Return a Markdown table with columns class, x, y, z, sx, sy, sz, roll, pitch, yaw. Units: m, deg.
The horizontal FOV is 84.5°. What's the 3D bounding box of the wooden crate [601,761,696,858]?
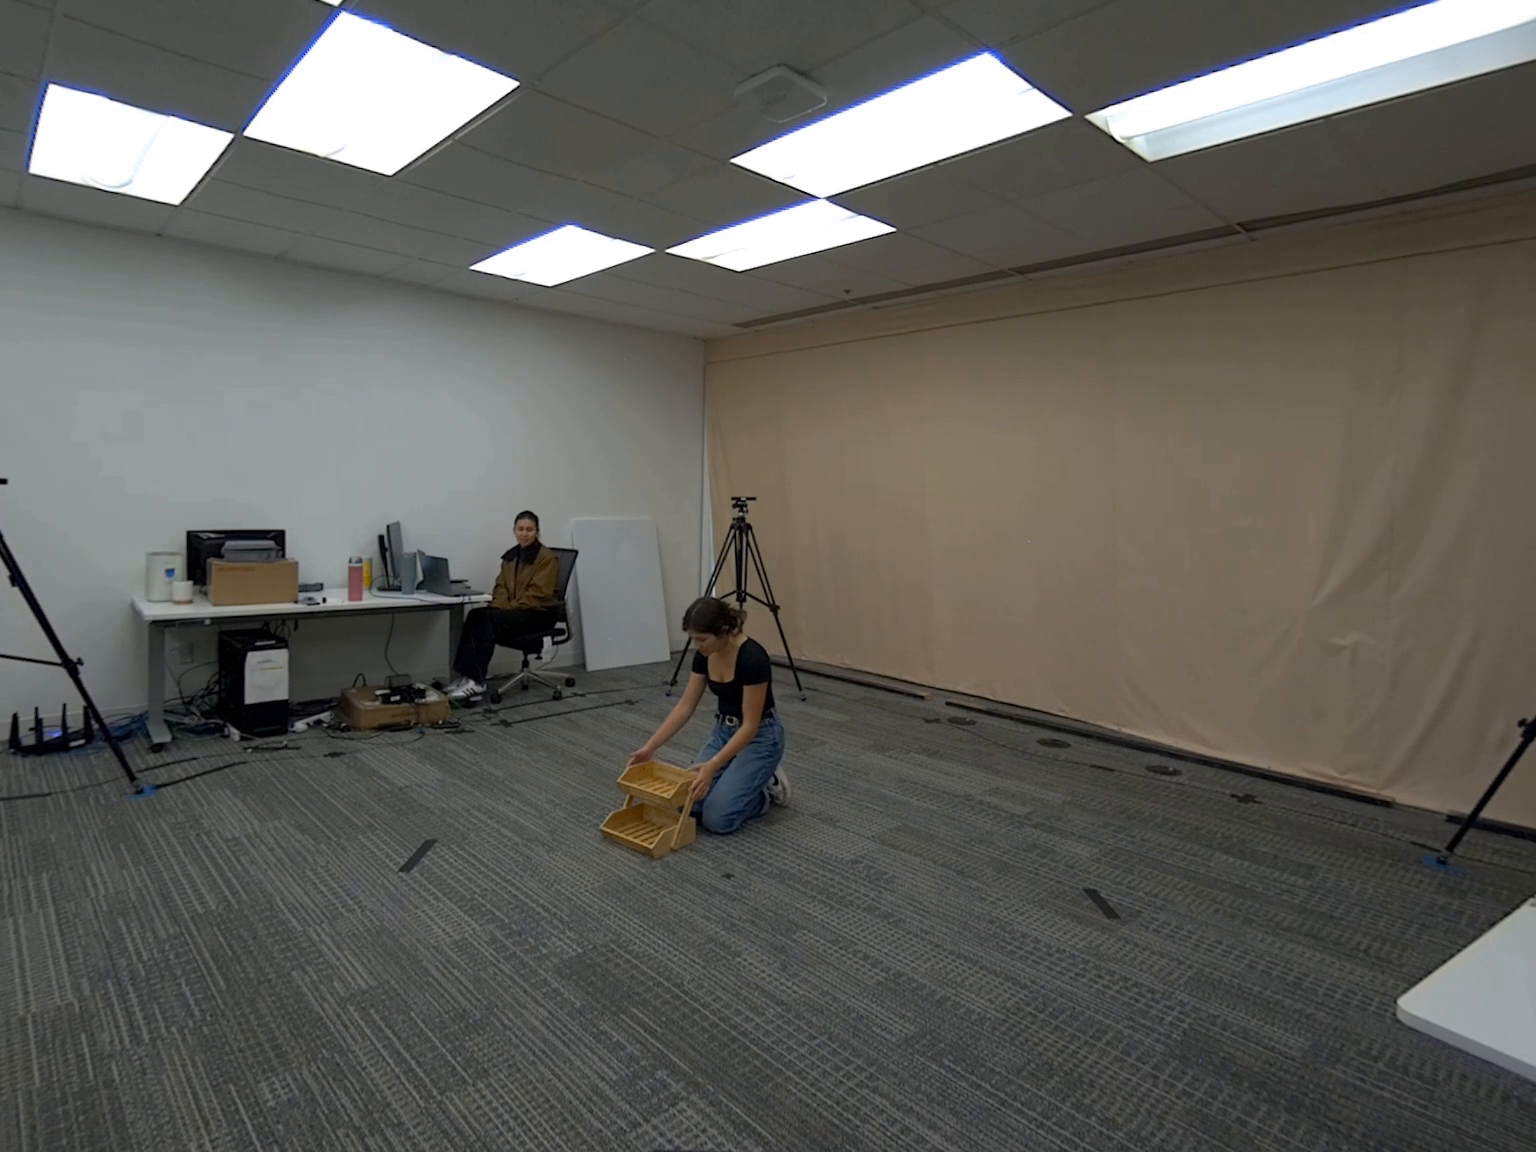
| class | x | y | z | sx | sy | sz | roll | pitch | yaw |
| --- | --- | --- | --- | --- | --- | --- | --- | --- | --- |
| wooden crate | -0.480 | 0.941 | 3.423 | 0.332 | 0.272 | 0.295 | 5 | 5 | 38 |
